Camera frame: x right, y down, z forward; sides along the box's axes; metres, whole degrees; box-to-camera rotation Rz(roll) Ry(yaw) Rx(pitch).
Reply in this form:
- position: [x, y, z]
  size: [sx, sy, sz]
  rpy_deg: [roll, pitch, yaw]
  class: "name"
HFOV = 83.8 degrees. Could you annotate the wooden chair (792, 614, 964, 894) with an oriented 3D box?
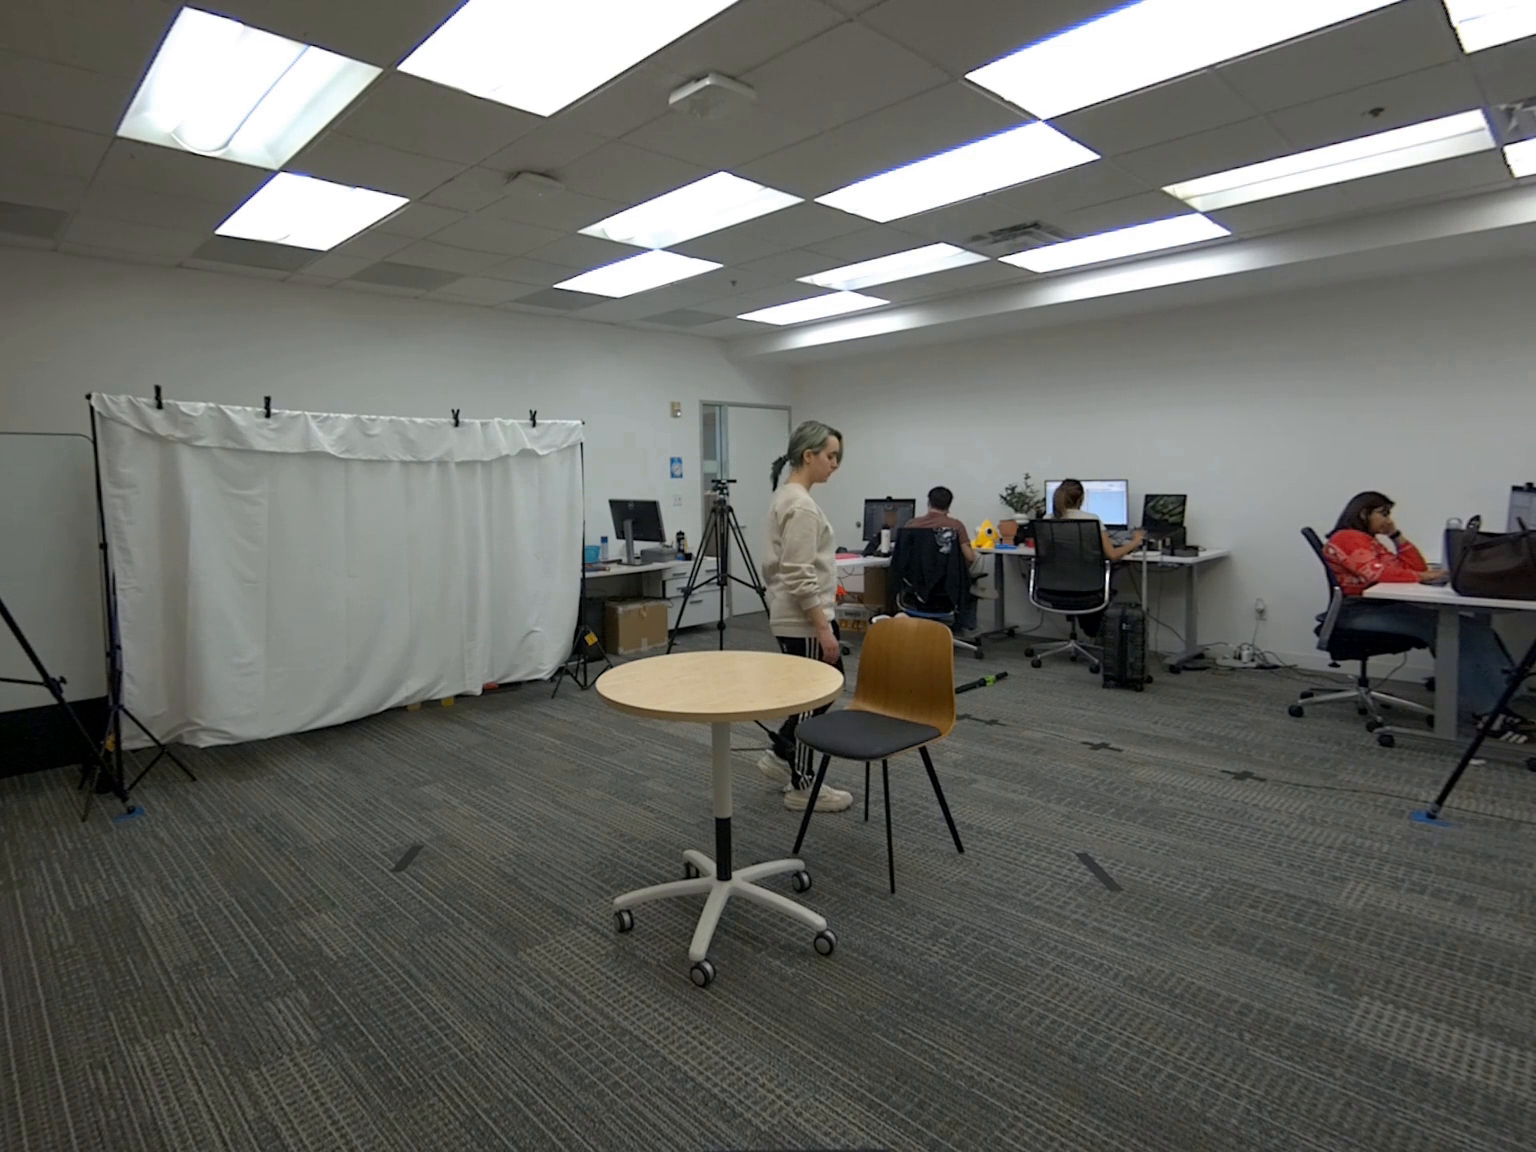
- position: [0.396, 0.608, 3.138]
  size: [0.493, 0.877, 0.508]
  rpy_deg: [3, 1, 45]
  class: "wooden chair"
